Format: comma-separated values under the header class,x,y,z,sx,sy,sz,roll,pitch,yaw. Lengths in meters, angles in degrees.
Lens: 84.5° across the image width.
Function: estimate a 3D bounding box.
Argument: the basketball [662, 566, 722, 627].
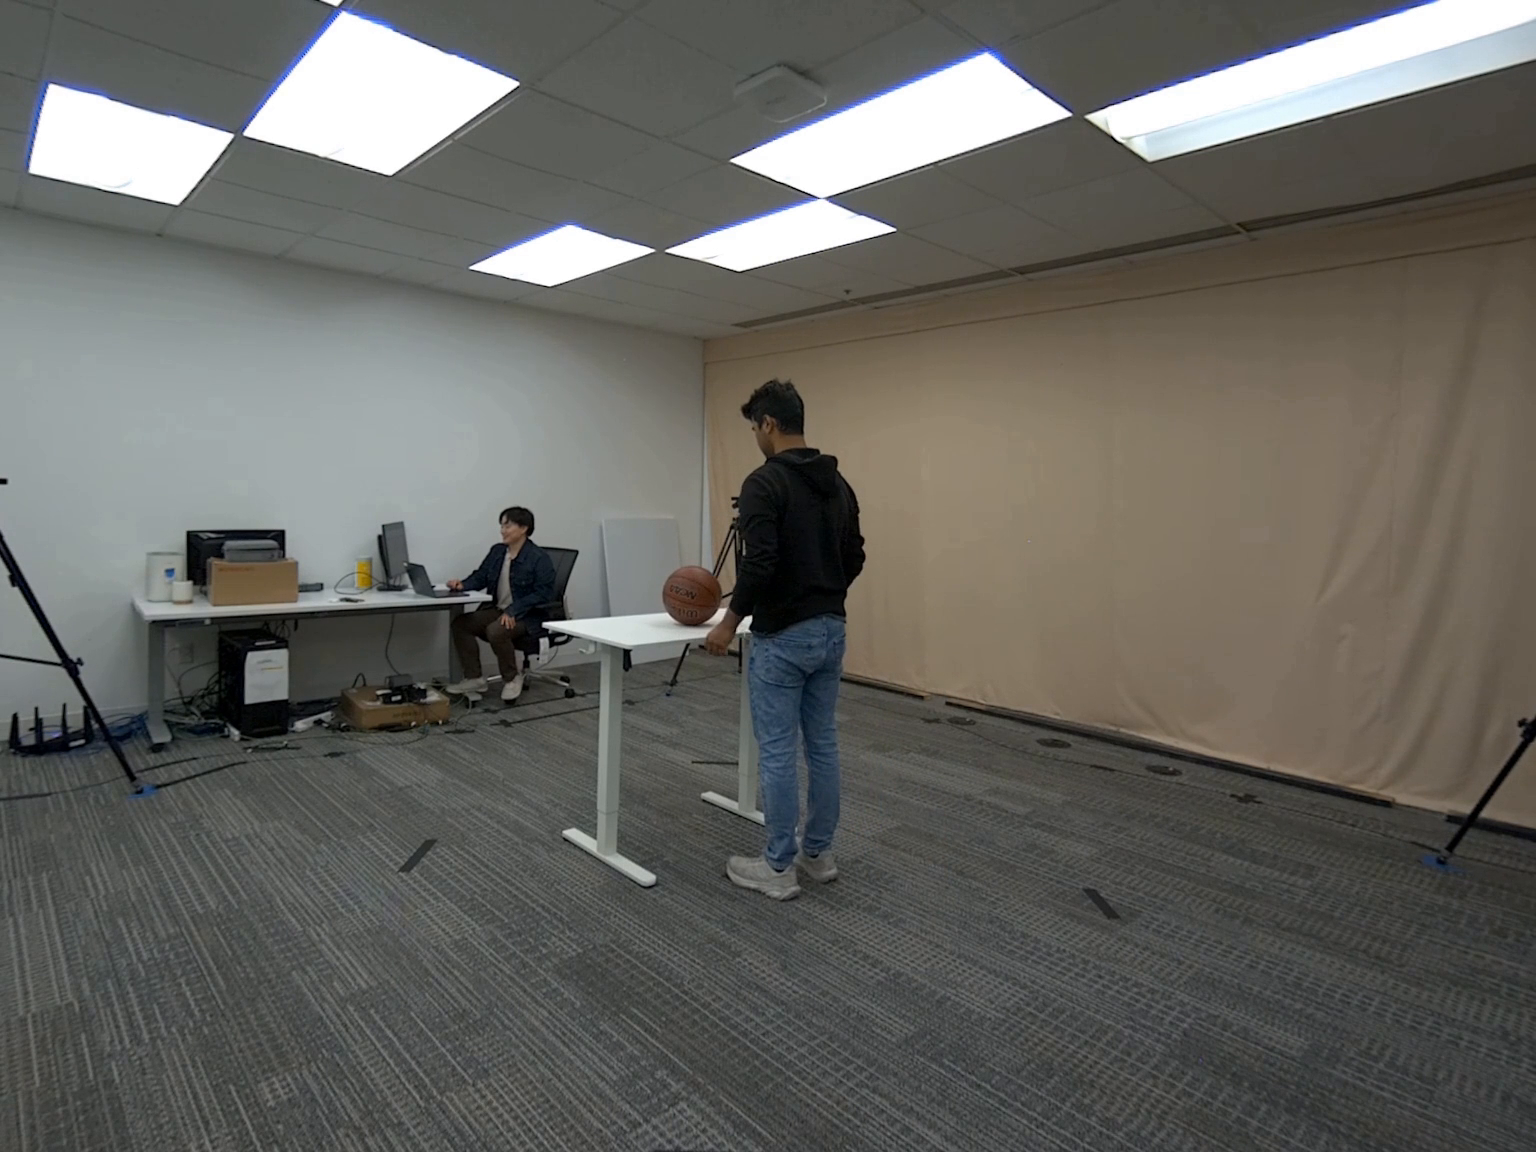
class,x,y,z,sx,sy,sz,roll,pitch,yaw
basketball,-0.314,0.080,3.380,0.236,0.235,0.237,1,4,-1
